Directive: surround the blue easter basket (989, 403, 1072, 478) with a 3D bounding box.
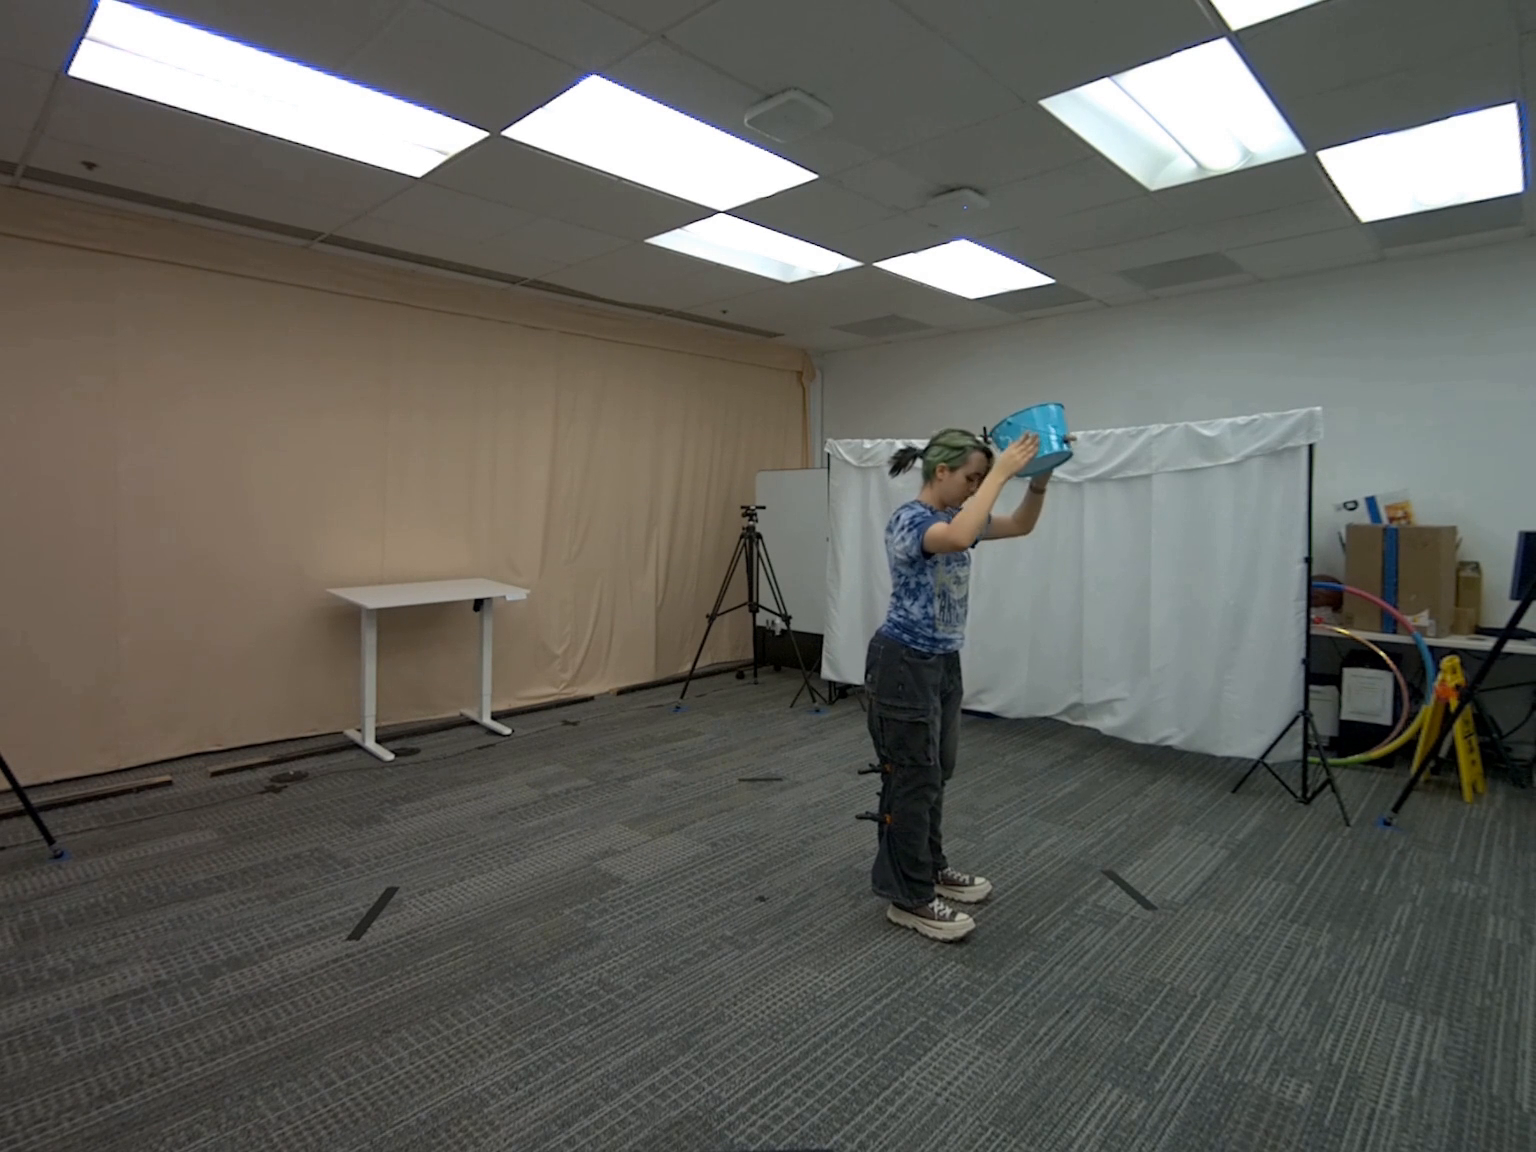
[{"bbox_3d":[0.833,-0.408,2.612,0.242,0.158,0.241,-11,-15,-5],"label":"blue easter basket"}]
